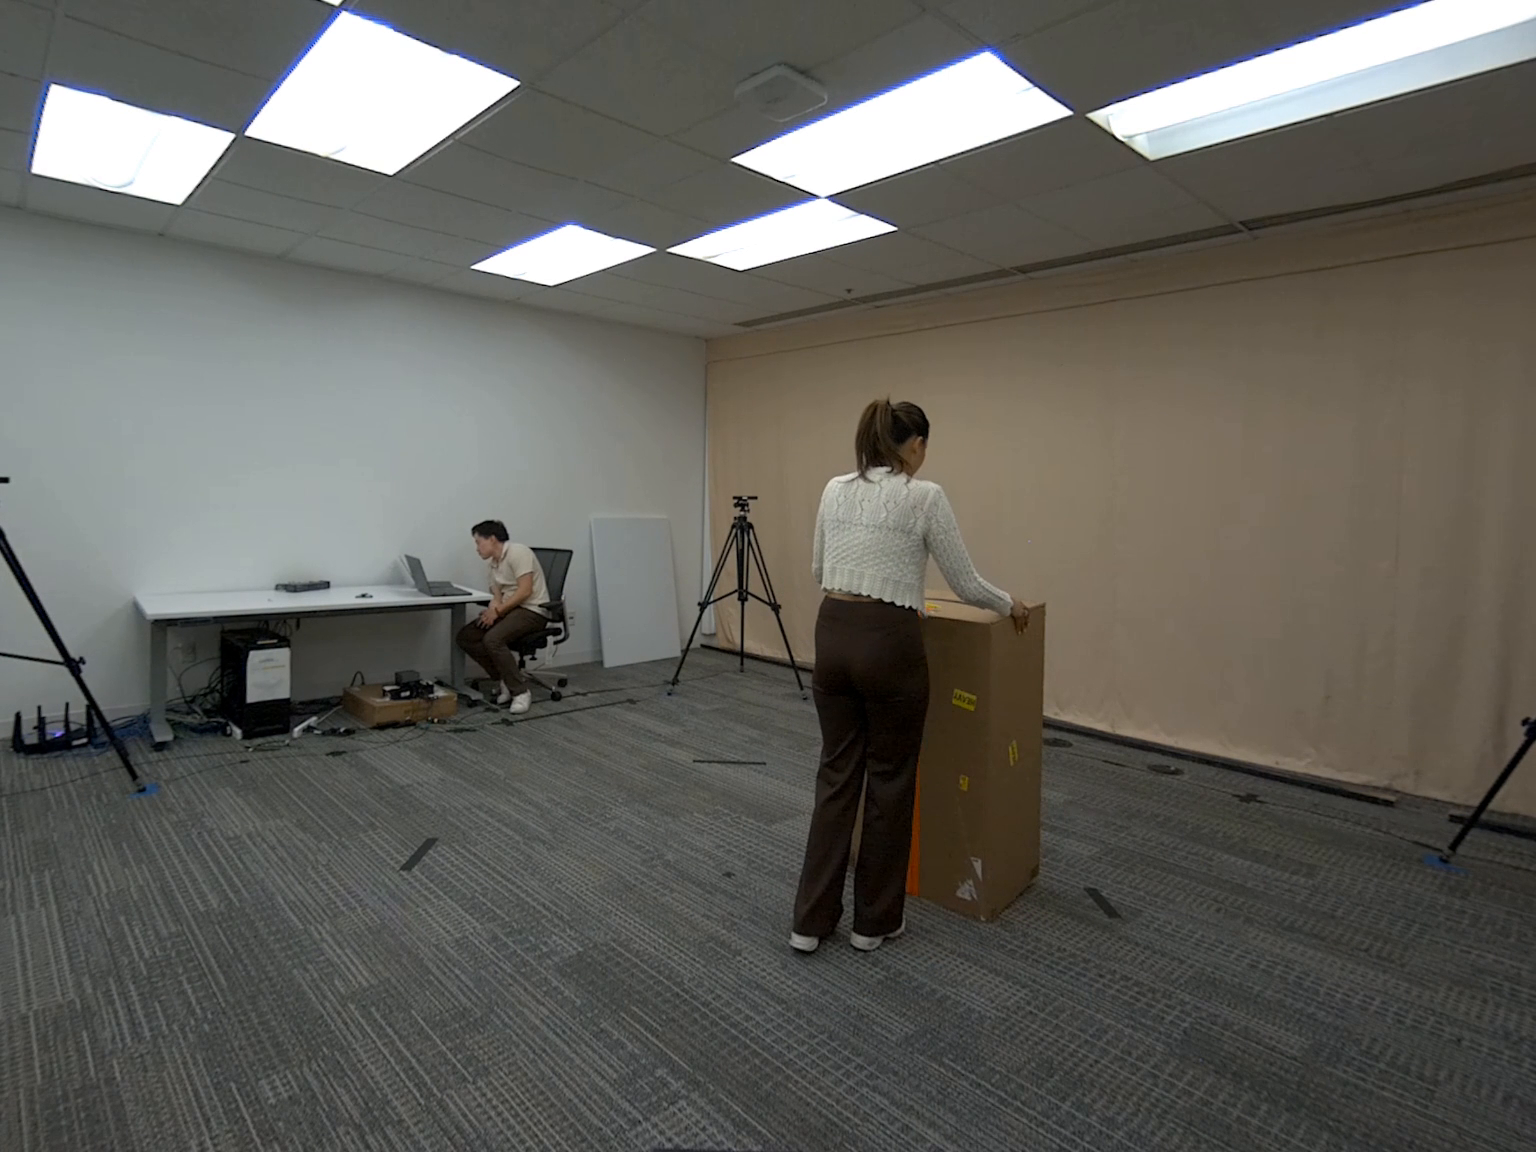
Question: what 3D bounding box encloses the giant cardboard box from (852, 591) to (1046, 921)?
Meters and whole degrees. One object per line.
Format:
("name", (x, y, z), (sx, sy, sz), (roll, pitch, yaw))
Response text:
("giant cardboard box", (0.632, 0.601, 3.071), (0.592, 1.020, 0.418), (6, 10, 41))
